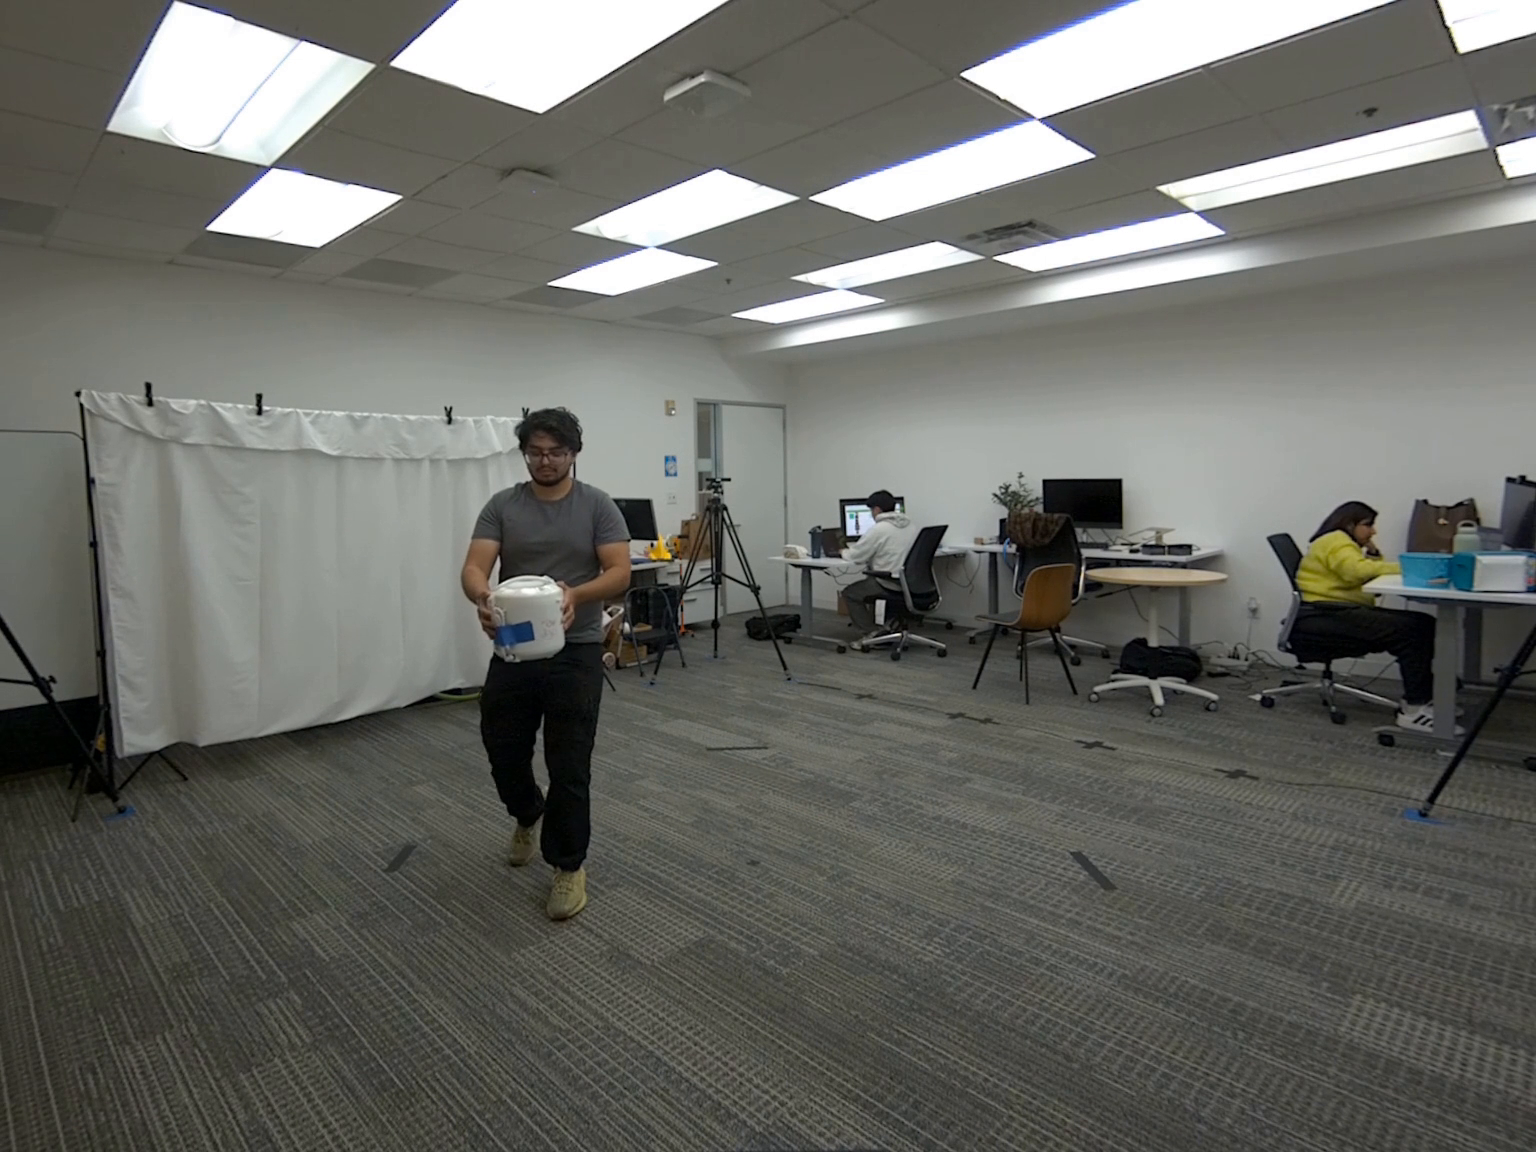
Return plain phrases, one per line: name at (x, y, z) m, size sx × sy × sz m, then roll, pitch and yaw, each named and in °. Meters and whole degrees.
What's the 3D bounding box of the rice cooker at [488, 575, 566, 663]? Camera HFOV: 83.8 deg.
rice cooker at (-0.711, 0.121, 2.486) m, size 0.216 × 0.231 × 0.223 m, roll -4°, pitch 7°, yaw -25°
